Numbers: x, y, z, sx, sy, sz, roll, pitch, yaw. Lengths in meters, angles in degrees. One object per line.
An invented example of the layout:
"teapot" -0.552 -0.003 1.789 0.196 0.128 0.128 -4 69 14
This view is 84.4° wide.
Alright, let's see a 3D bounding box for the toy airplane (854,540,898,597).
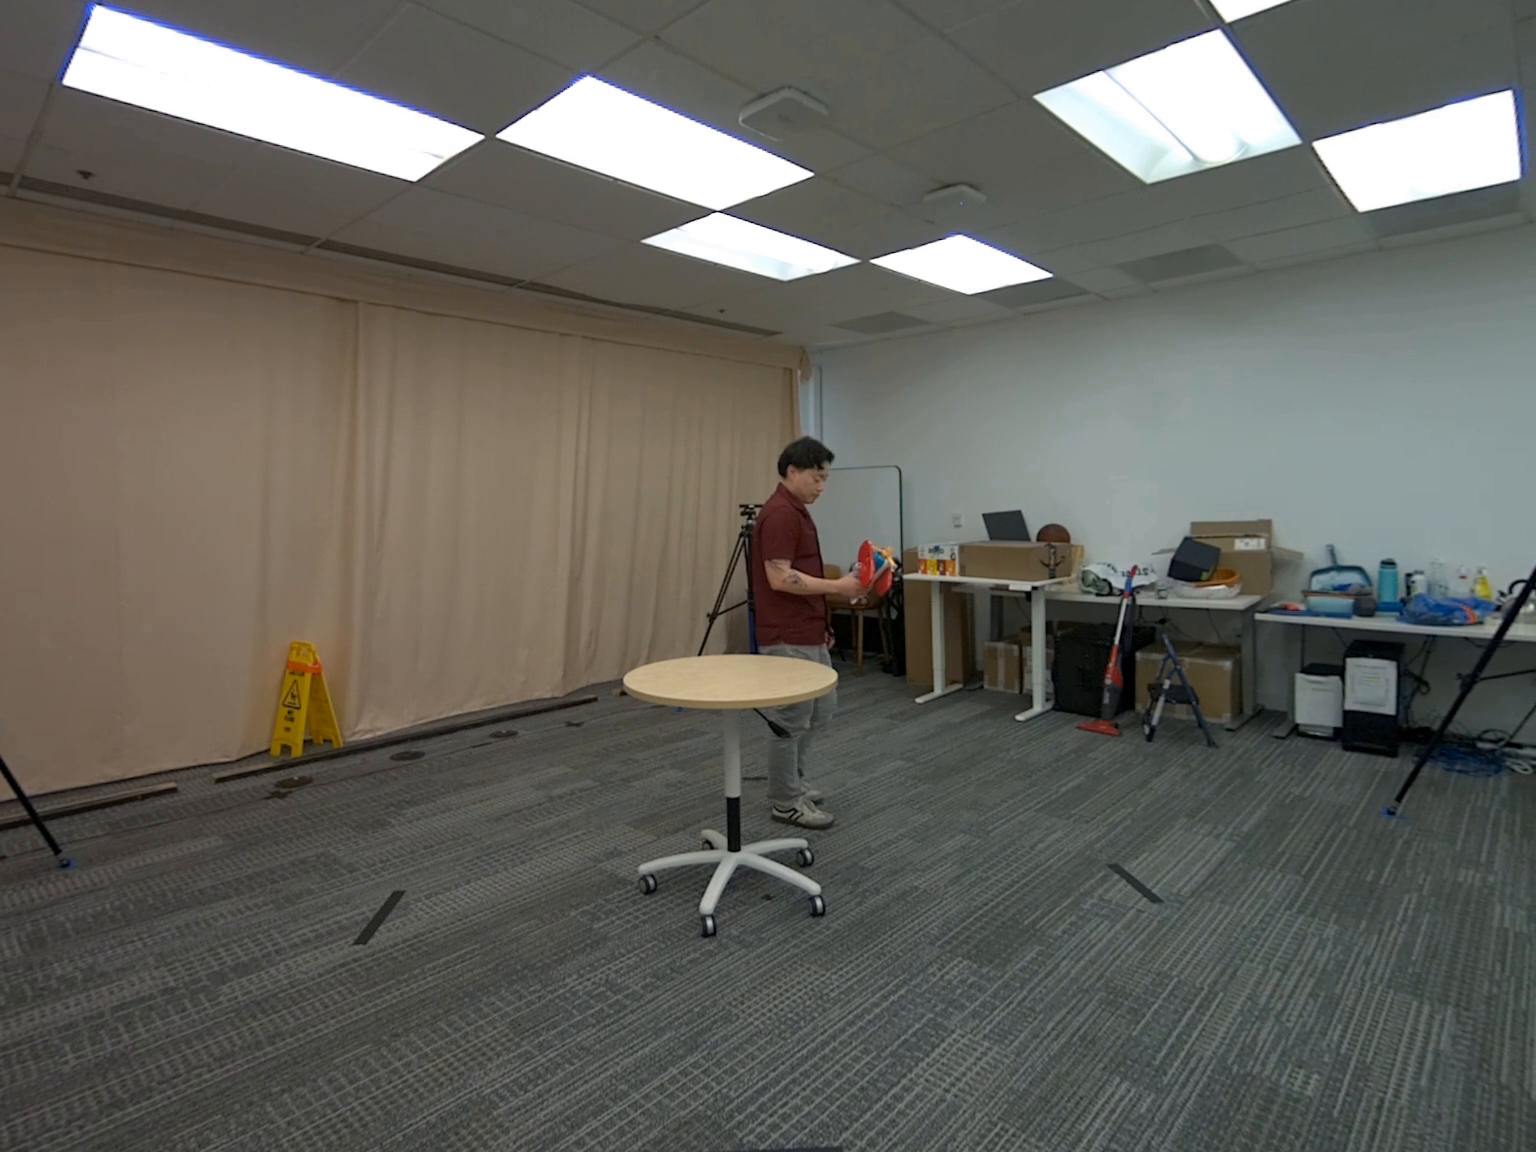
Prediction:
"toy airplane" 0.416 0.008 3.342 0.152 0.259 0.258 39 2 -24
